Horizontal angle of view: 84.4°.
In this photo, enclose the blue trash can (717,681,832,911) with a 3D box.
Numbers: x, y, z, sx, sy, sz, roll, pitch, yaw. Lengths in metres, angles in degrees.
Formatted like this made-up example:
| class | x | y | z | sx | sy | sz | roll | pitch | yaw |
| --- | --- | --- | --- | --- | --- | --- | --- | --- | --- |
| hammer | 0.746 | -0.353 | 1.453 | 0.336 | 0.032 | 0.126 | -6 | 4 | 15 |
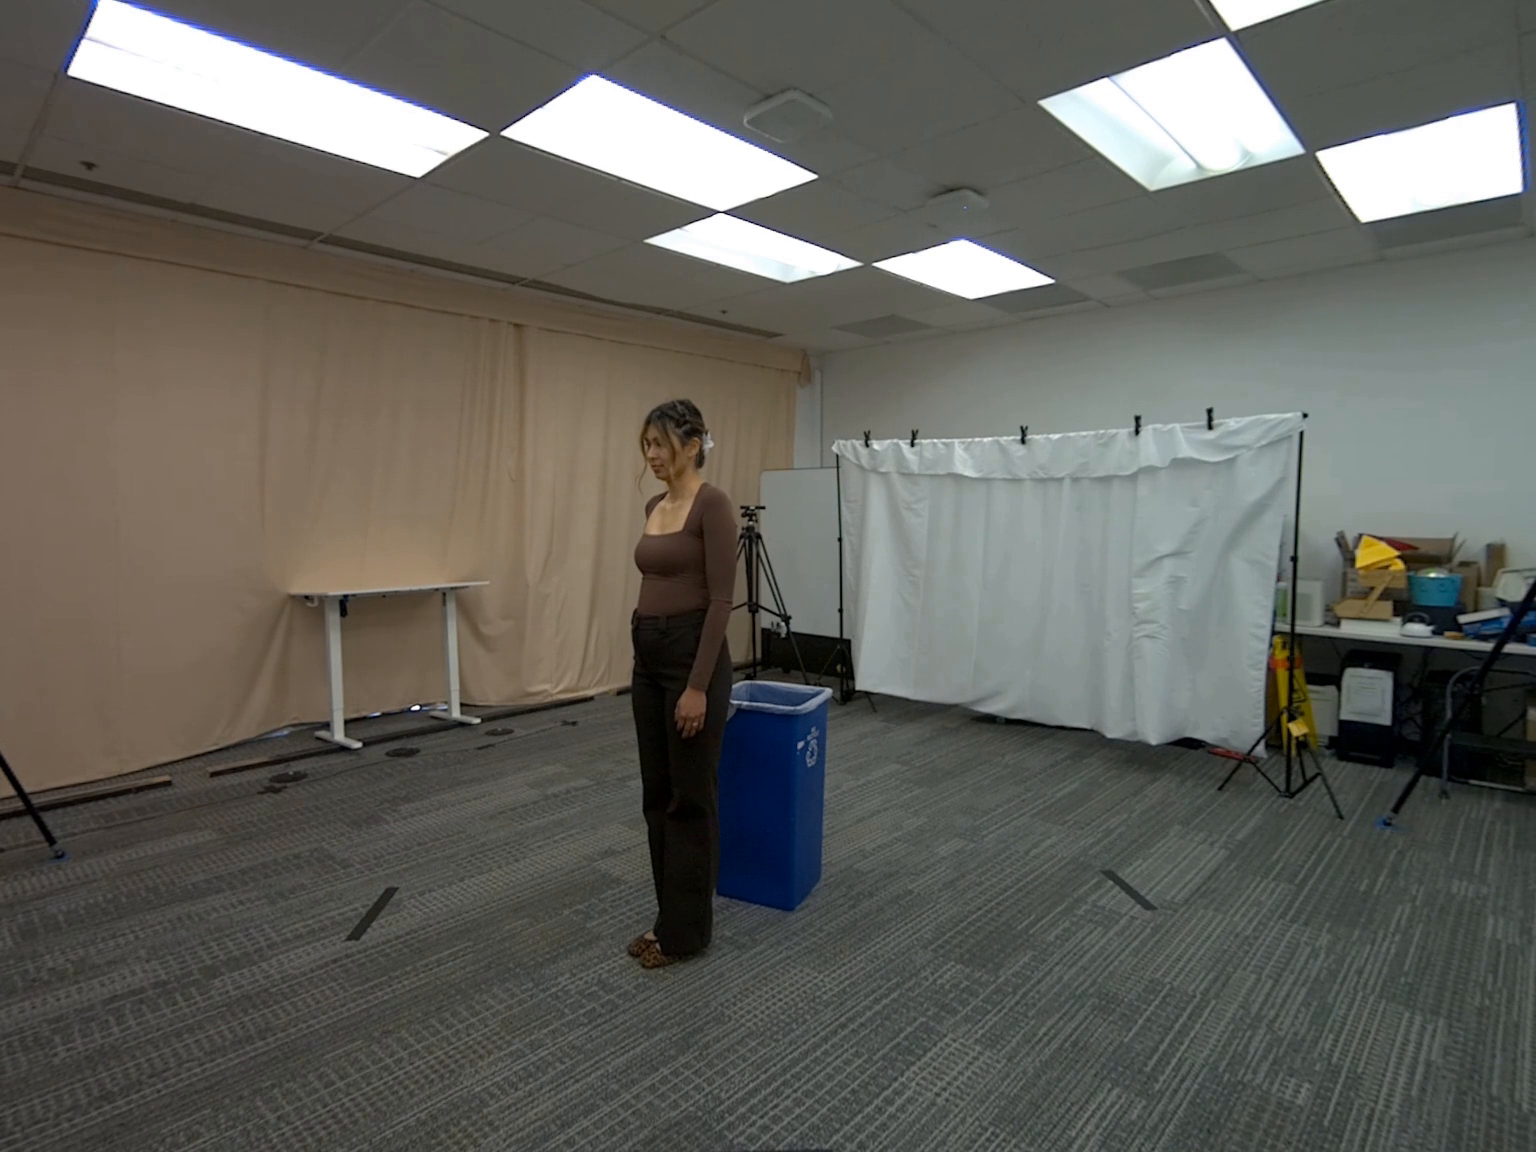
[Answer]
| class | x | y | z | sx | sy | sz | roll | pitch | yaw |
| --- | --- | --- | --- | --- | --- | --- | --- | --- | --- |
| blue trash can | 0.005 | 0.778 | 3.062 | 0.384 | 0.712 | 0.369 | 3 | 4 | 24 |
